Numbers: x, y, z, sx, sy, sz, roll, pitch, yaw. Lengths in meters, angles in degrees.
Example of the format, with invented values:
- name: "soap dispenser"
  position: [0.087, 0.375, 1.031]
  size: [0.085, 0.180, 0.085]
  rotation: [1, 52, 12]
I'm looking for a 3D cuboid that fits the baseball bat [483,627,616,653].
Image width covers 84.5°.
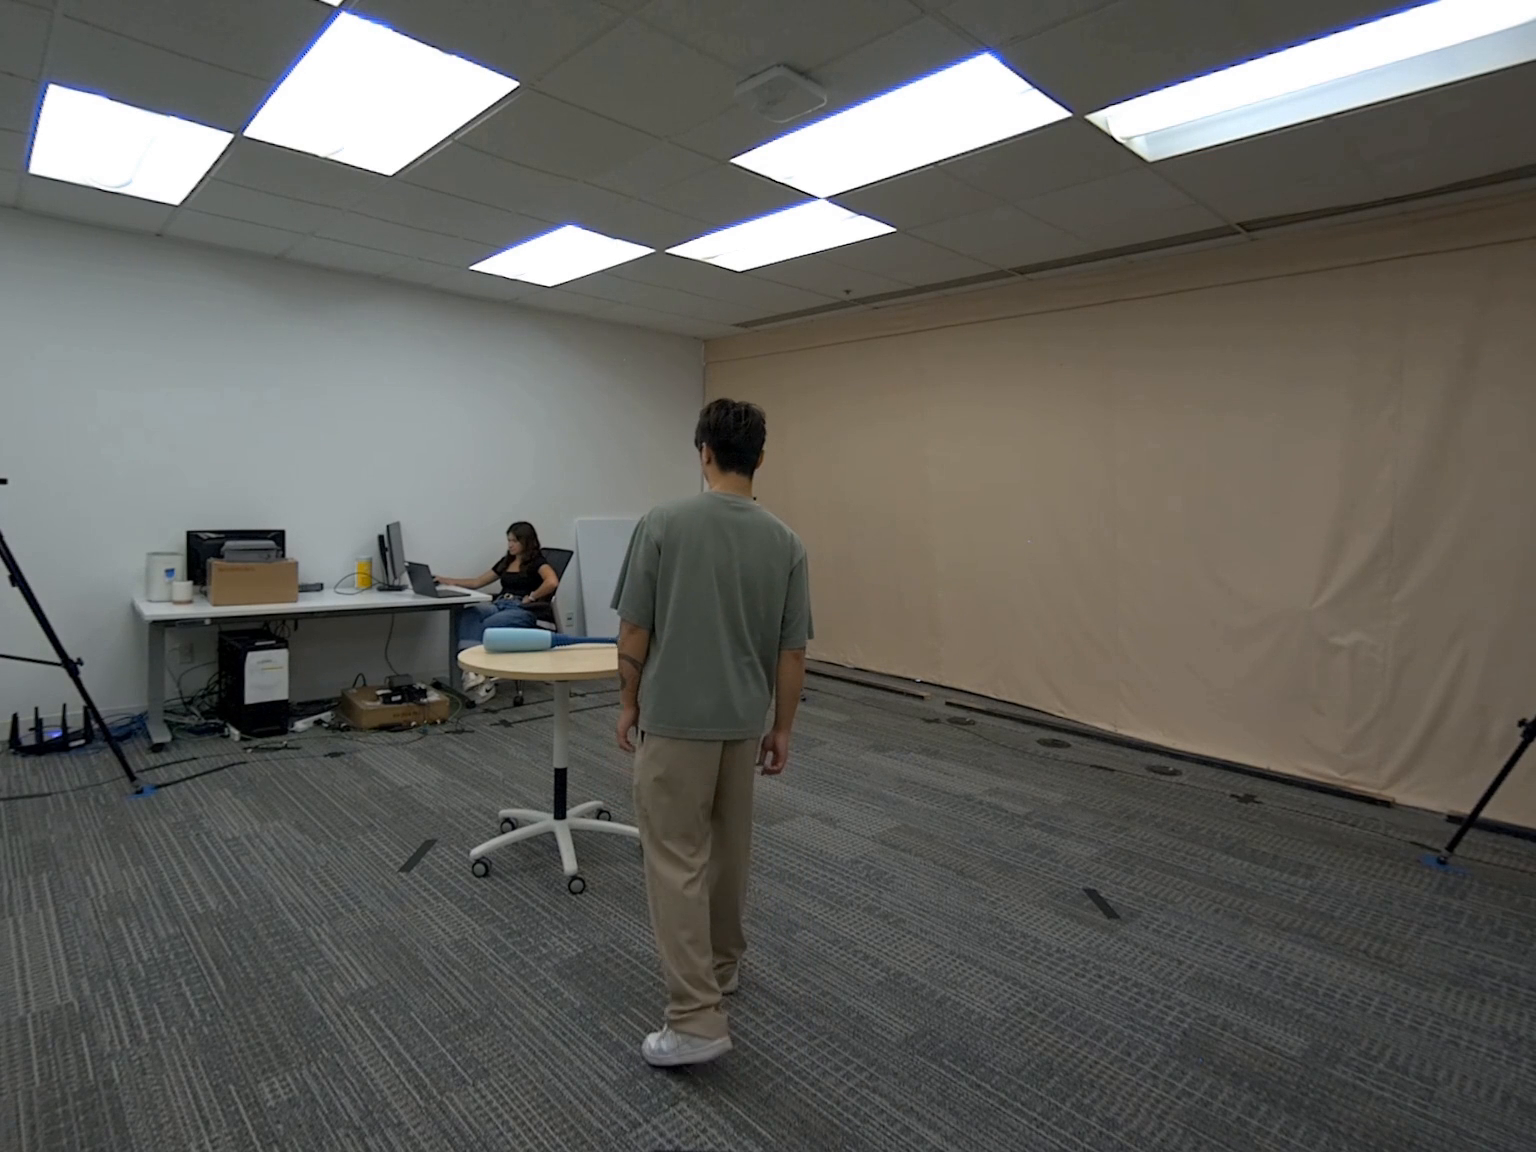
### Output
- name: "baseball bat"
  position: [-0.839, 0.255, 3.295]
  size: [0.533, 0.089, 0.091]
  rotation: [3, 3, -22]
